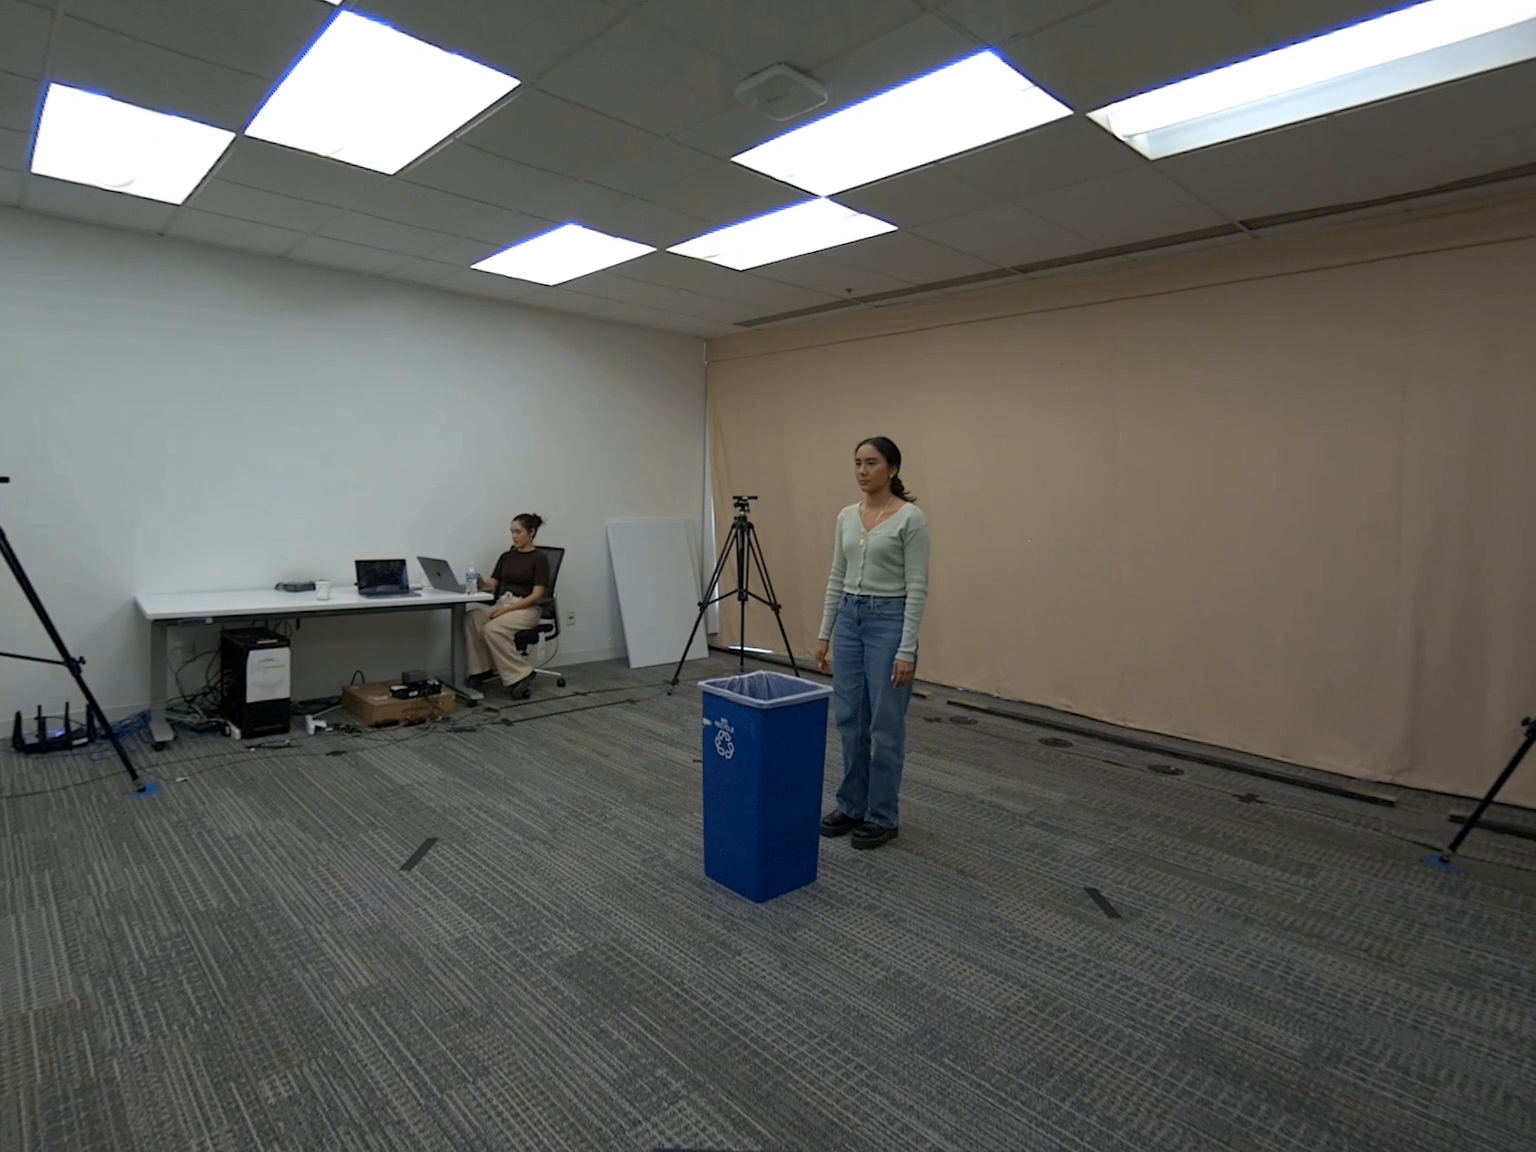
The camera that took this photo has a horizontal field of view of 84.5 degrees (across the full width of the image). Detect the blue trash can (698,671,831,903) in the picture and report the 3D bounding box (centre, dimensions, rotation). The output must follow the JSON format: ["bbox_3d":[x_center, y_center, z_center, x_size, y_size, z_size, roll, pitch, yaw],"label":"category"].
[{"bbox_3d":[-0.019,0.750,3.067,0.369,0.712,0.383,-2,5,-42],"label":"blue trash can"}]
